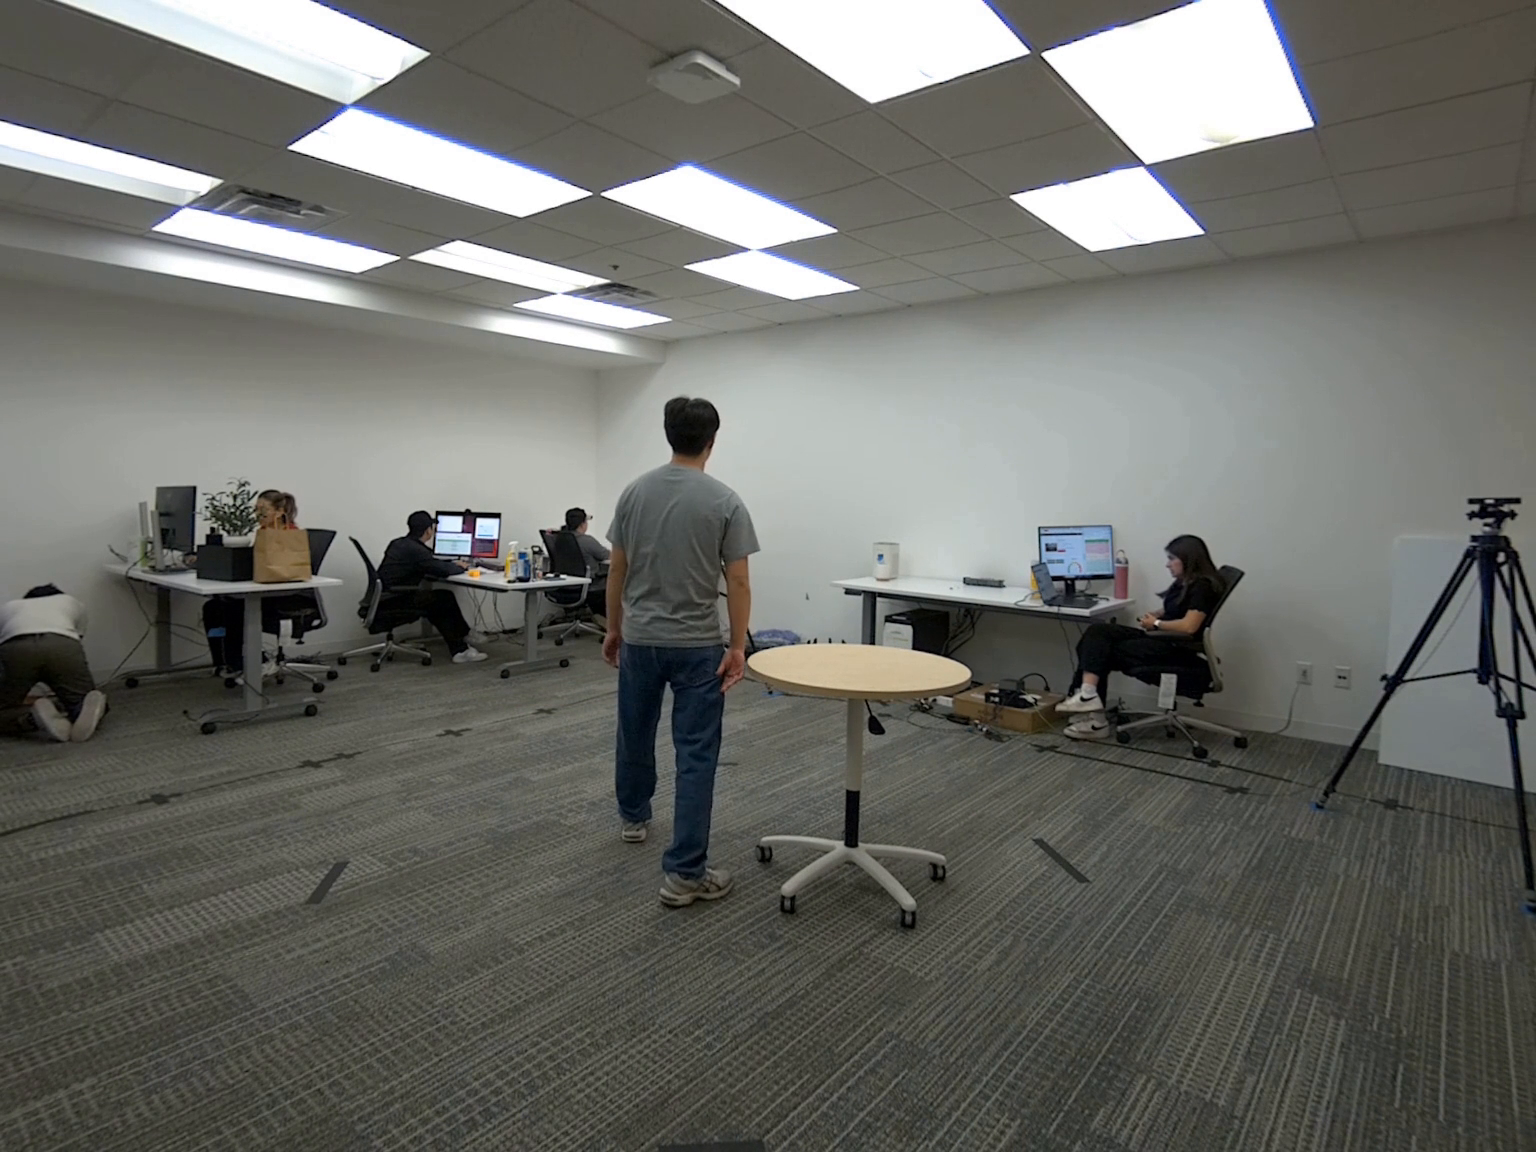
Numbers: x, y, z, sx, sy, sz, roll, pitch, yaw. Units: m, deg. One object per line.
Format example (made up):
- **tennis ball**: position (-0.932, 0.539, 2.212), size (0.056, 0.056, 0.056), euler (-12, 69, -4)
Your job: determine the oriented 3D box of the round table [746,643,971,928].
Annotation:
- **round table**: position (0.289, 0.699, 2.988), size (0.763, 0.791, 0.768), euler (1, 5, -2)
